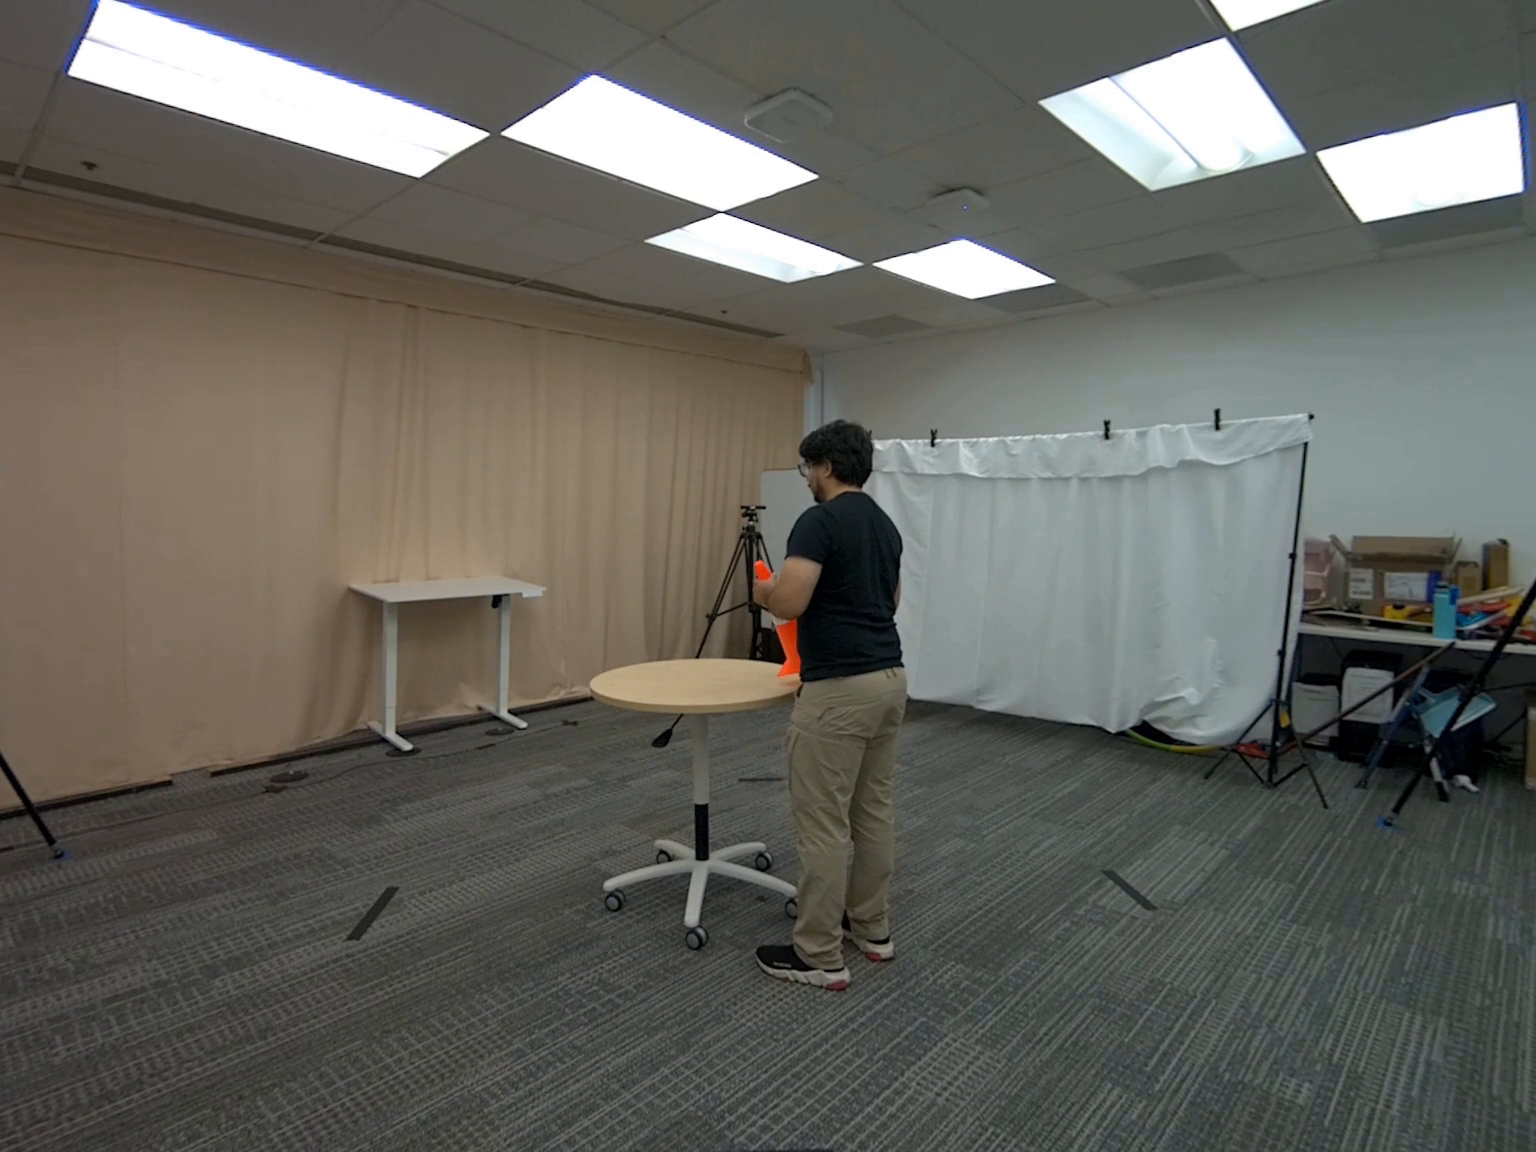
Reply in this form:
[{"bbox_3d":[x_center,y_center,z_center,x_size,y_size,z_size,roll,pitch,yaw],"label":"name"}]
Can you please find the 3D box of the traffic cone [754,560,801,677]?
[{"bbox_3d":[0.063,0.118,2.810,0.209,0.379,0.201,-22,15,38],"label":"traffic cone"}]
